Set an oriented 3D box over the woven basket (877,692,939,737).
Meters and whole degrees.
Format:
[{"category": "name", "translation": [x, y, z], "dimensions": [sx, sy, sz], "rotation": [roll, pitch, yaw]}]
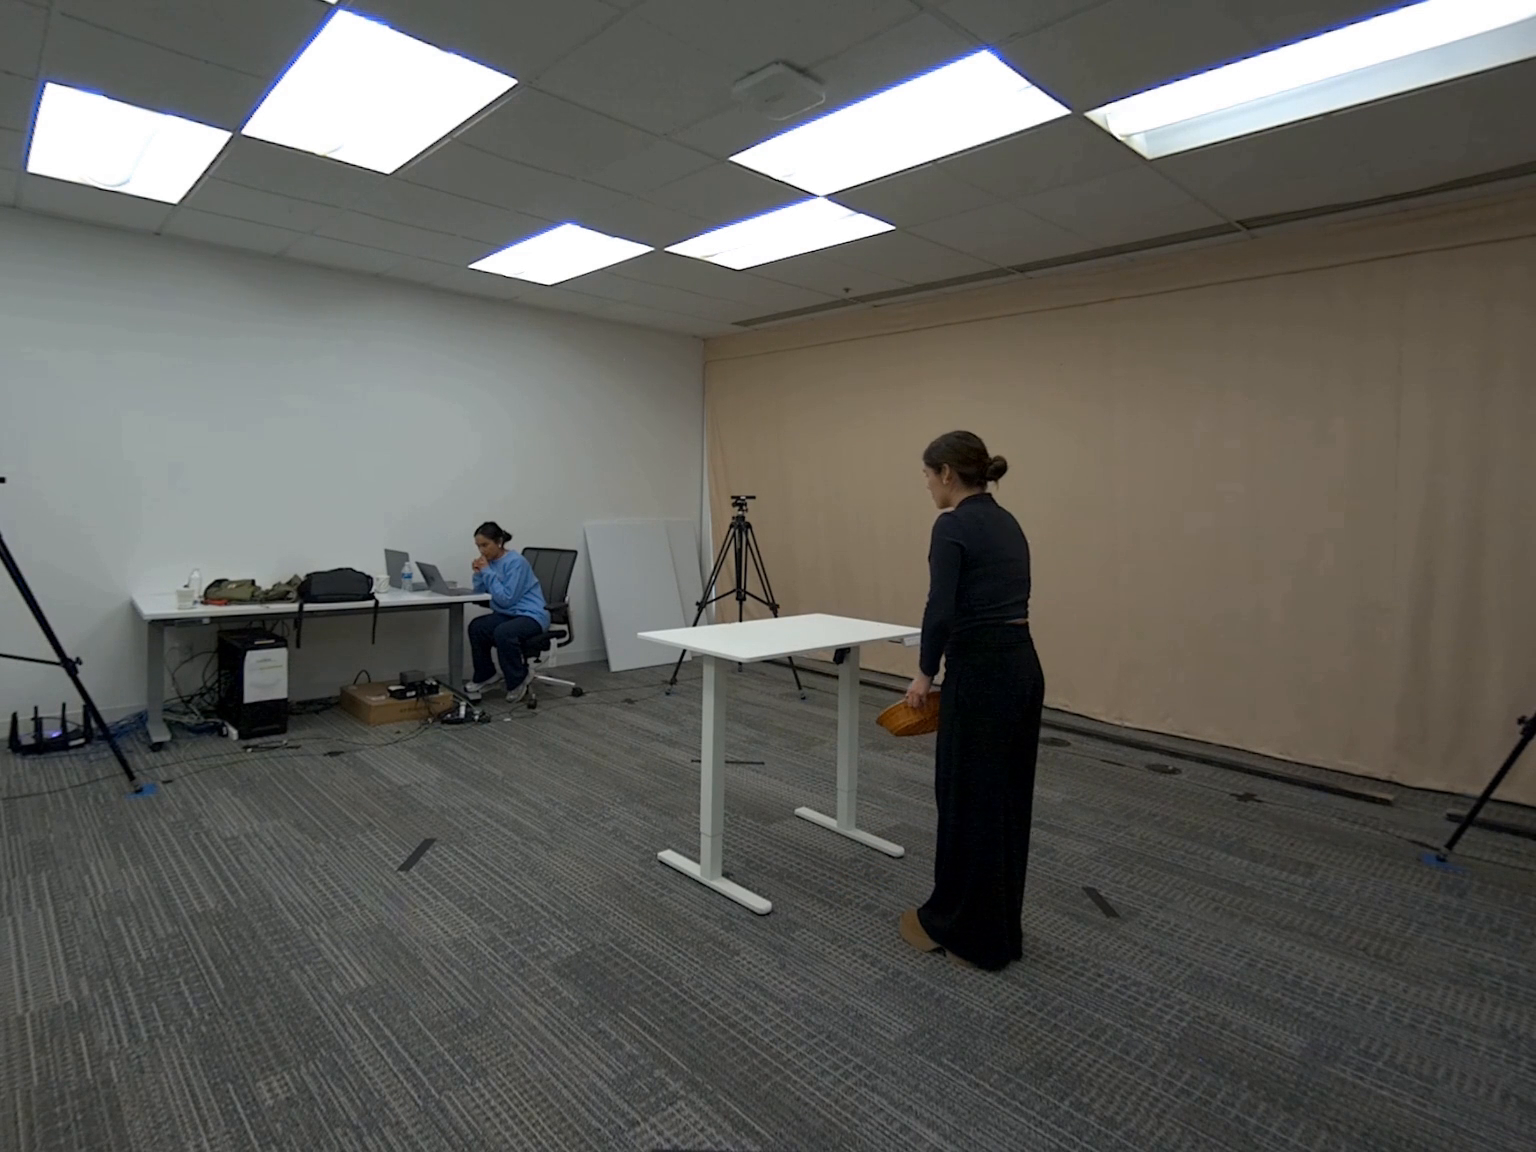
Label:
[{"category": "woven basket", "translation": [0.492, 0.457, 2.765], "dimensions": [0.341, 0.075, 0.253], "rotation": [8, -38, -47]}]
